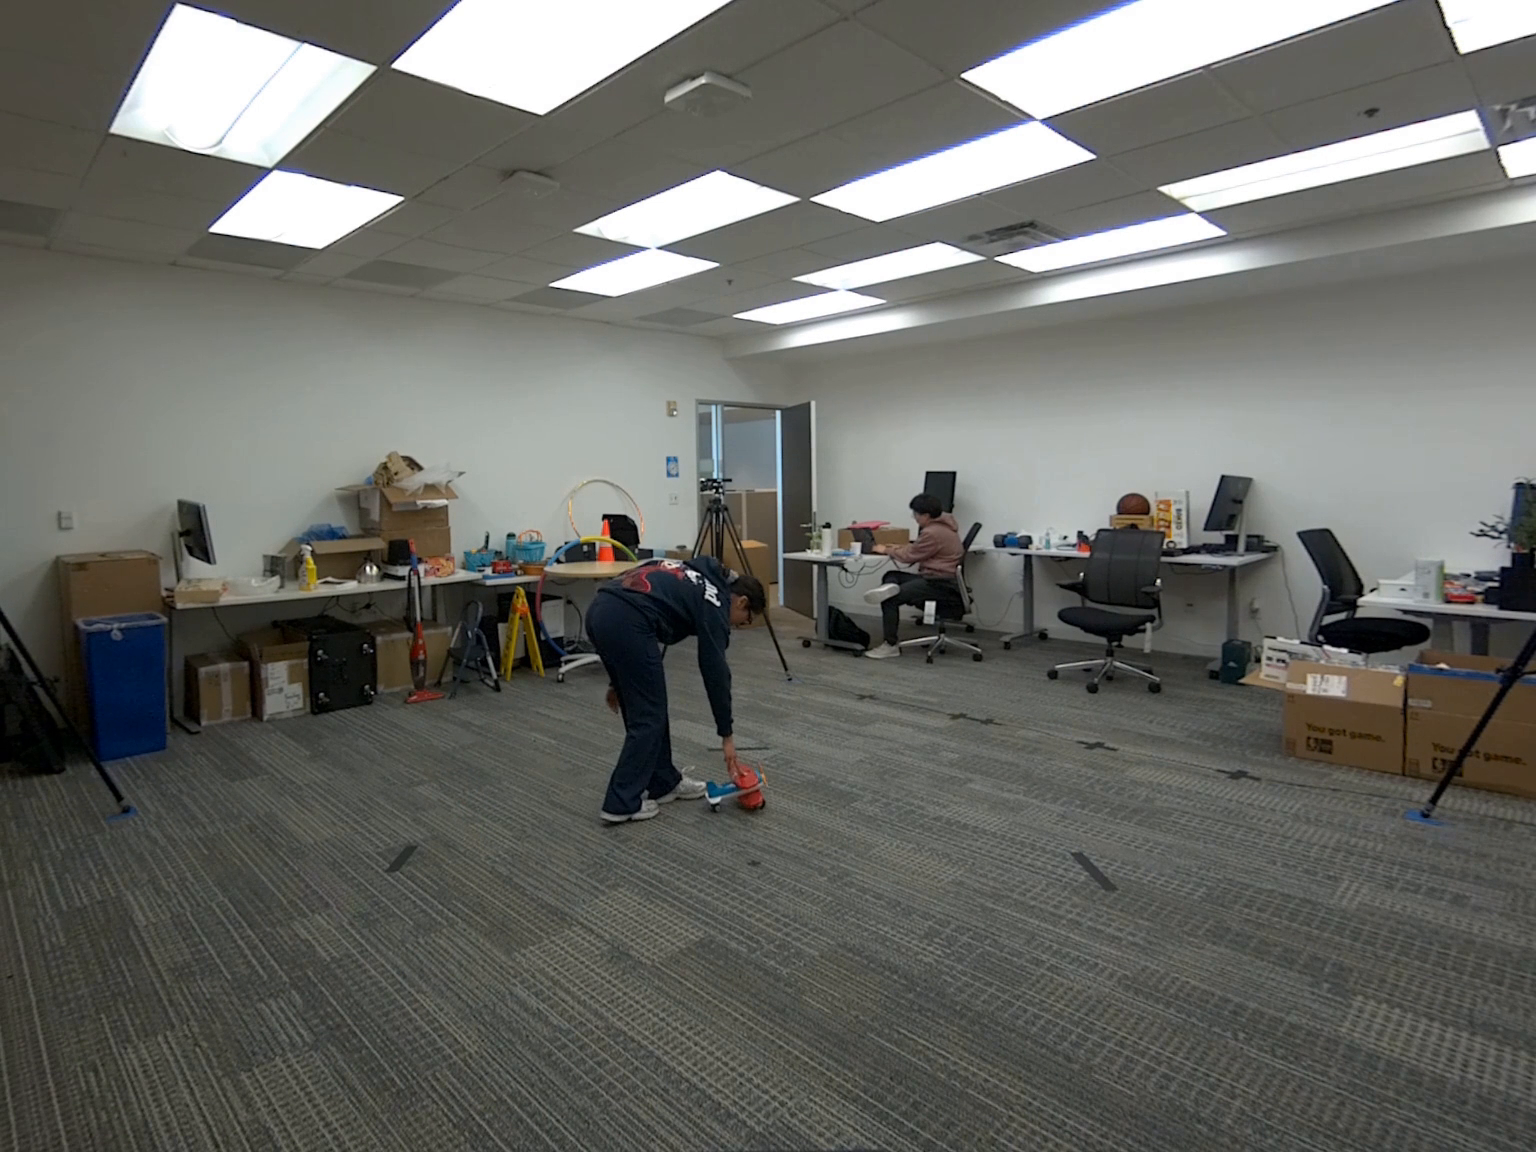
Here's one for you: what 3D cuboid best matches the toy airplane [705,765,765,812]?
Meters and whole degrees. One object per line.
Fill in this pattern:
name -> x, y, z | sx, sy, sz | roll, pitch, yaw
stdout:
toy airplane -> -0.128, 0.911, 3.614 | 0.252, 0.156, 0.259 | -6, 7, -44
